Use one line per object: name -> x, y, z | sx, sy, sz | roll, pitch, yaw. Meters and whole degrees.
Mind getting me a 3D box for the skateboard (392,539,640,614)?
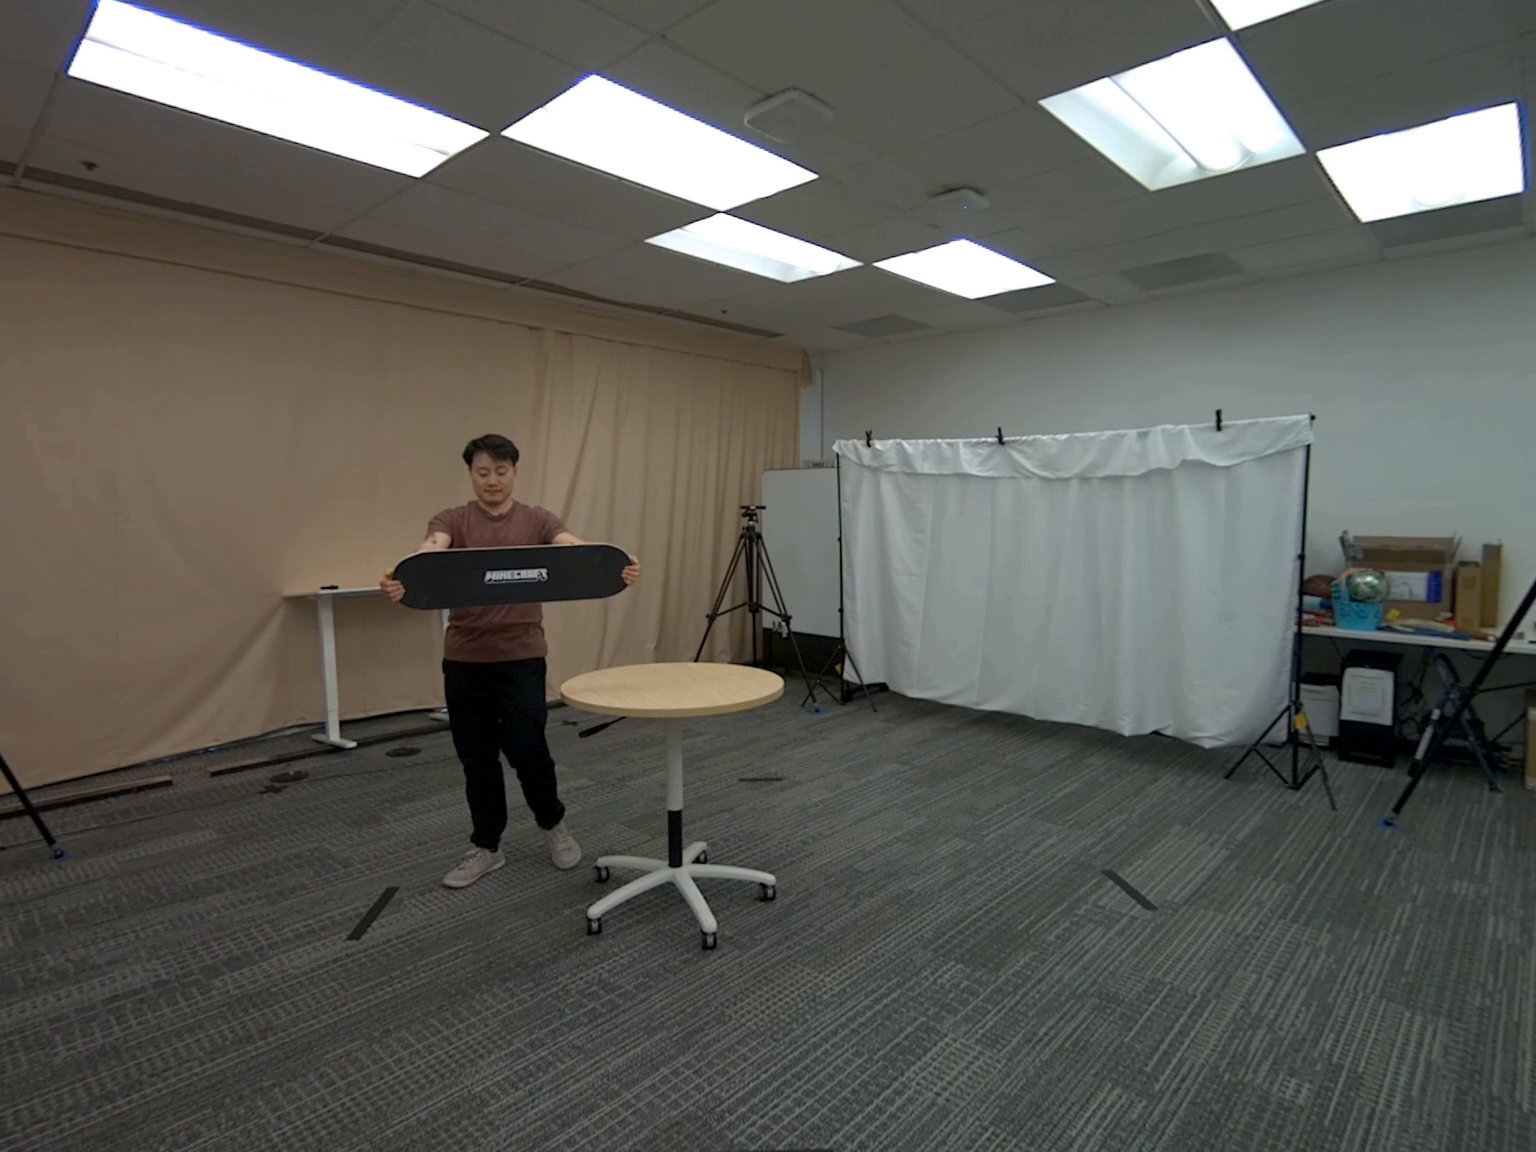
skateboard -> -0.830, -0.008, 2.829 | 0.770, 0.193, 0.113 | -4, 2, -20
